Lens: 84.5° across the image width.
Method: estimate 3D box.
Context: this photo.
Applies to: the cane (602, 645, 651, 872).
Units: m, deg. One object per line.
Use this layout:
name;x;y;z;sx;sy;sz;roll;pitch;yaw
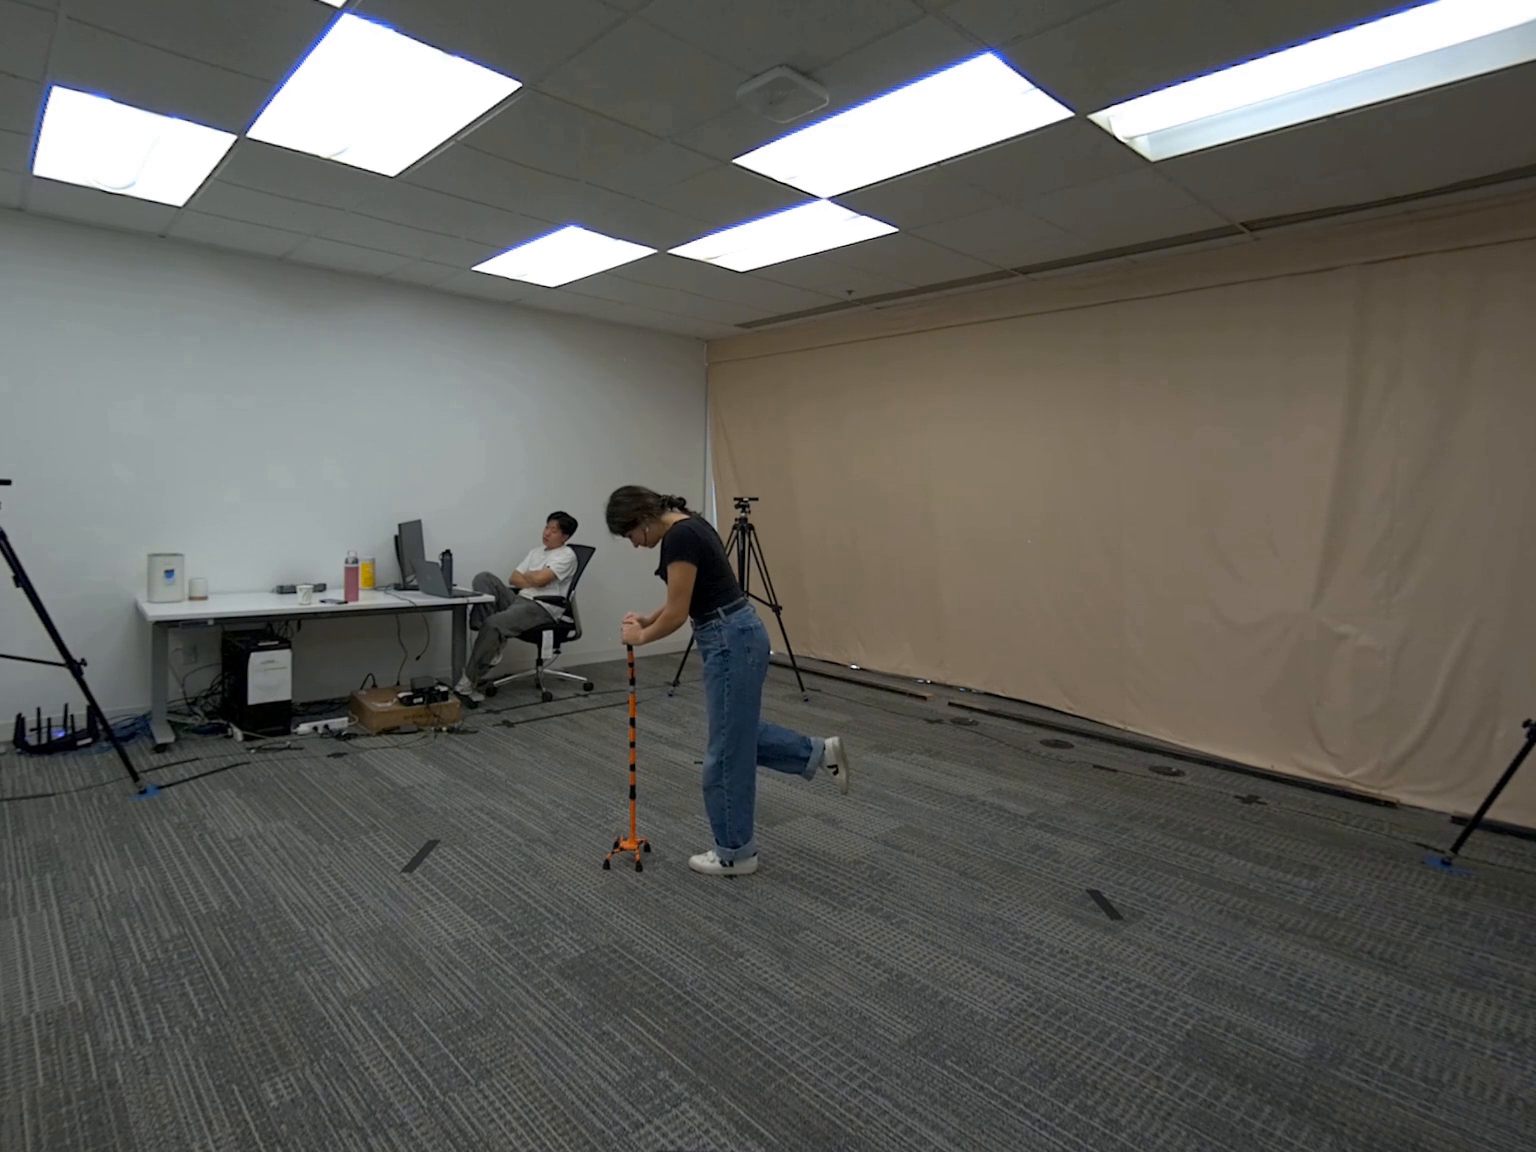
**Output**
cane;-0.536;0.627;3.208;0.152;0.906;0.206;1;2;2
